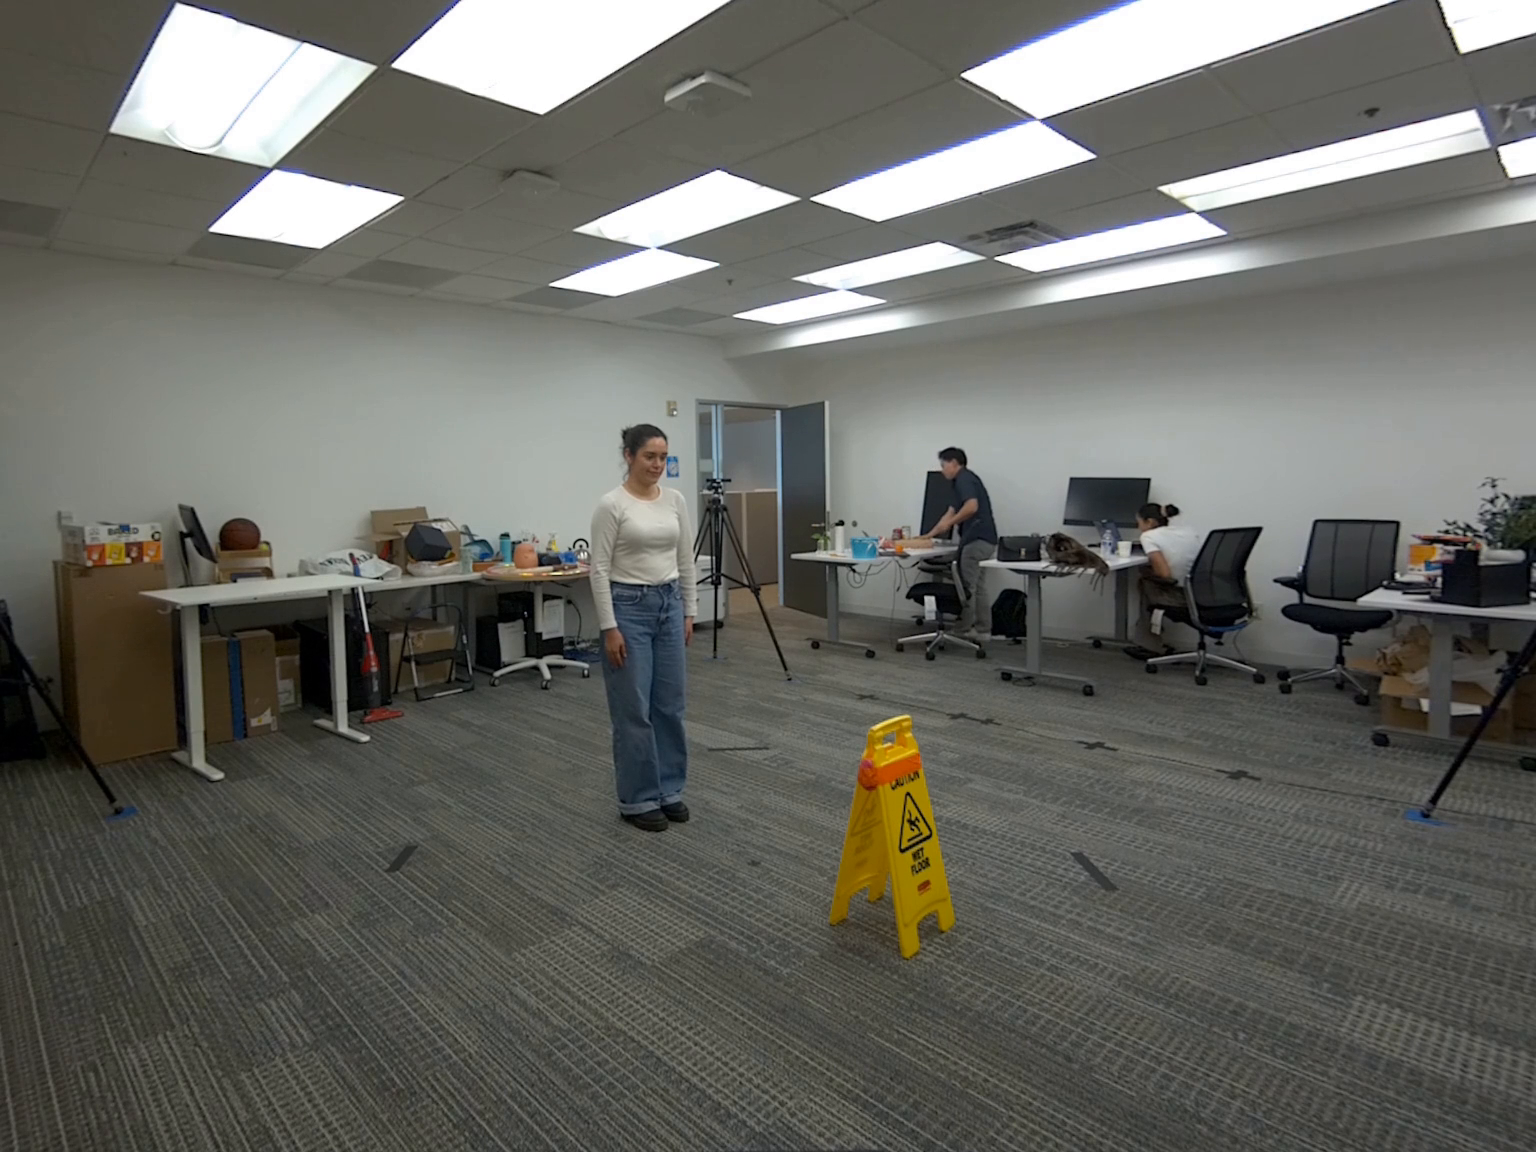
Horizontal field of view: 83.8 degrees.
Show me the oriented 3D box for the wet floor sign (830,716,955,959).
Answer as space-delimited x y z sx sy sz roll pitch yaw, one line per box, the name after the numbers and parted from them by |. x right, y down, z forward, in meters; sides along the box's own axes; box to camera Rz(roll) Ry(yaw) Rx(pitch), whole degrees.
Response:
0.387 0.766 2.642 0.299 0.643 0.275 4 7 44 | wet floor sign
